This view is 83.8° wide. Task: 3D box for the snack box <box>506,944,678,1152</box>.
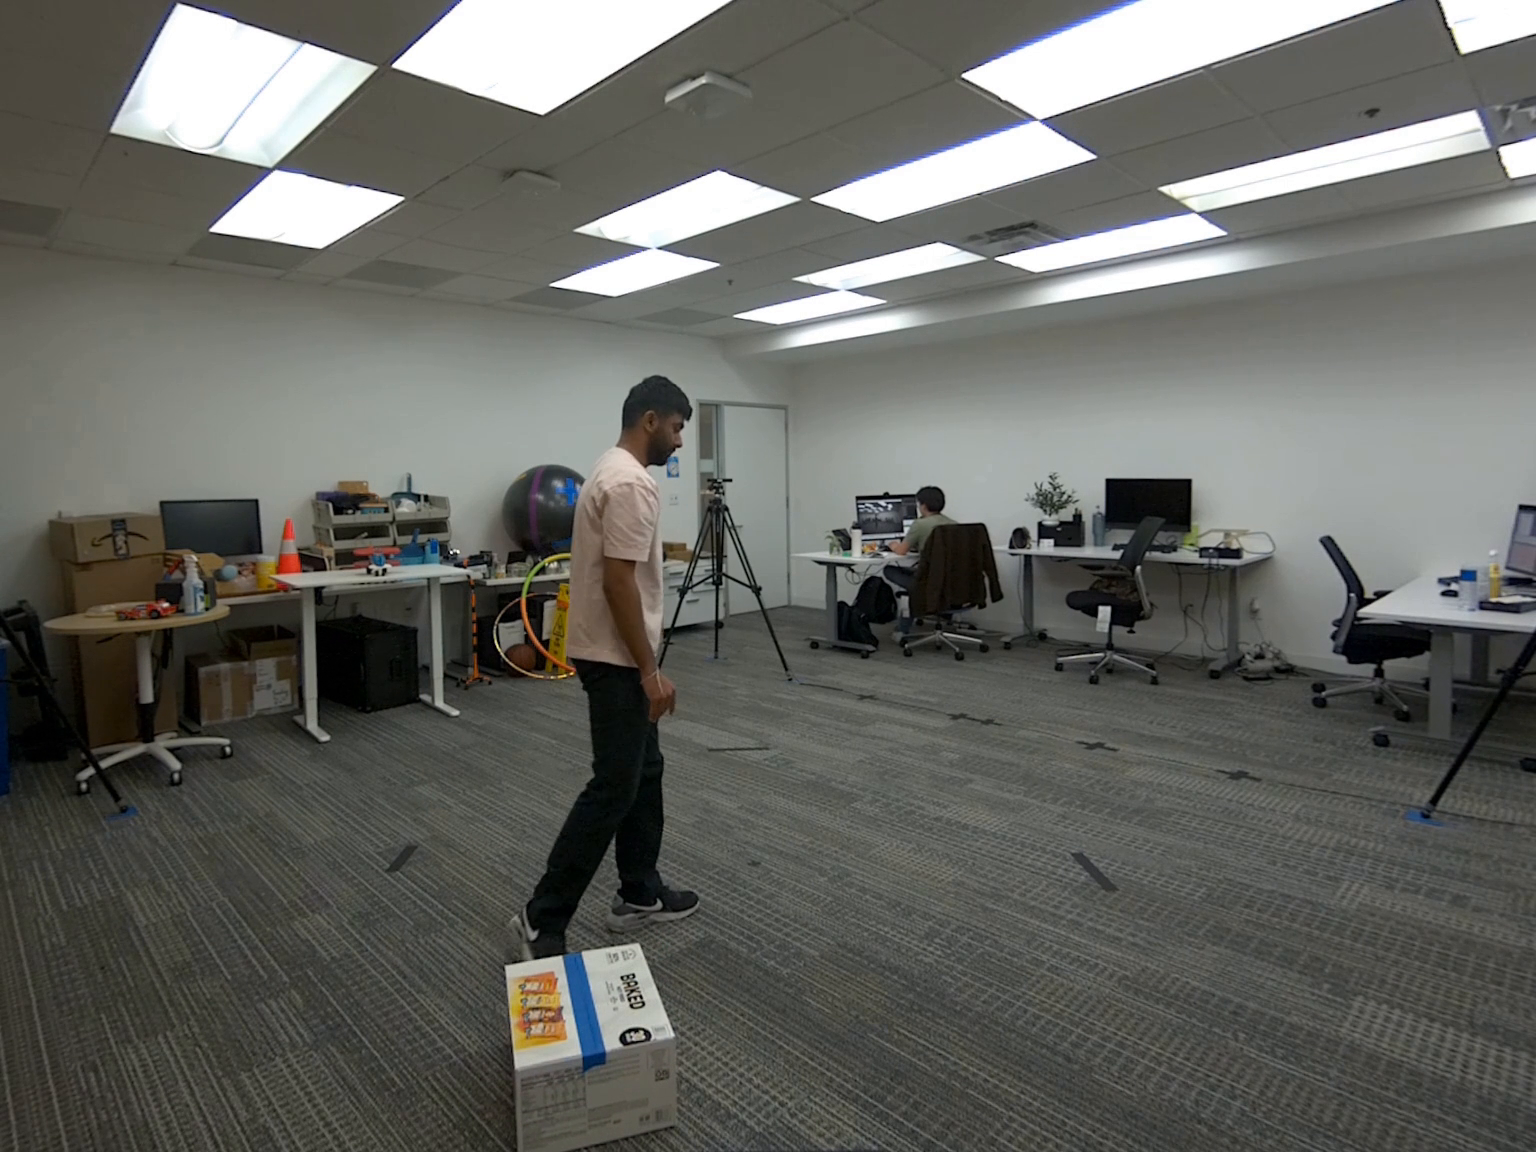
[{"bbox_3d":[-0.416,1.089,1.976,0.335,0.205,0.413,-3,6,-18],"label":"snack box"}]
